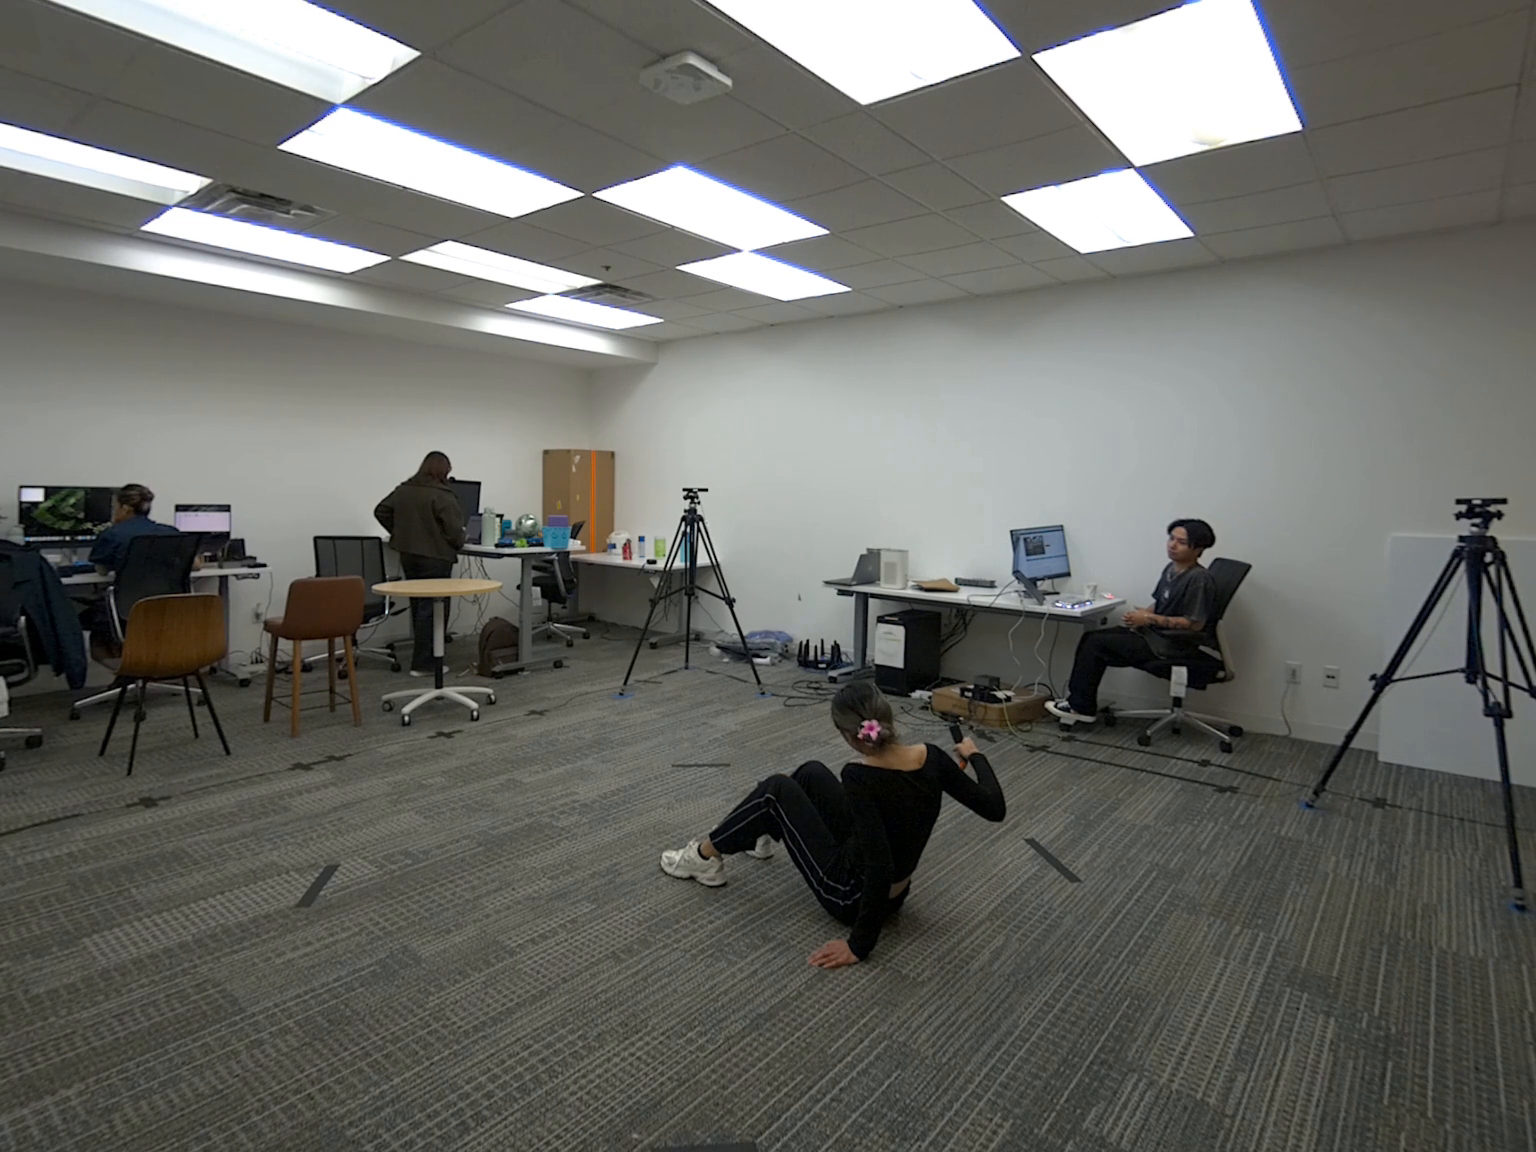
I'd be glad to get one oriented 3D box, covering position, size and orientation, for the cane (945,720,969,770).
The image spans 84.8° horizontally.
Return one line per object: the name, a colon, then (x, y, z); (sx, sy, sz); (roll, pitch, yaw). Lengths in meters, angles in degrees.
cane: (0.362, 0.768, 3.274); (0.921, 0.210, 0.147); (-26, -14, 37)
